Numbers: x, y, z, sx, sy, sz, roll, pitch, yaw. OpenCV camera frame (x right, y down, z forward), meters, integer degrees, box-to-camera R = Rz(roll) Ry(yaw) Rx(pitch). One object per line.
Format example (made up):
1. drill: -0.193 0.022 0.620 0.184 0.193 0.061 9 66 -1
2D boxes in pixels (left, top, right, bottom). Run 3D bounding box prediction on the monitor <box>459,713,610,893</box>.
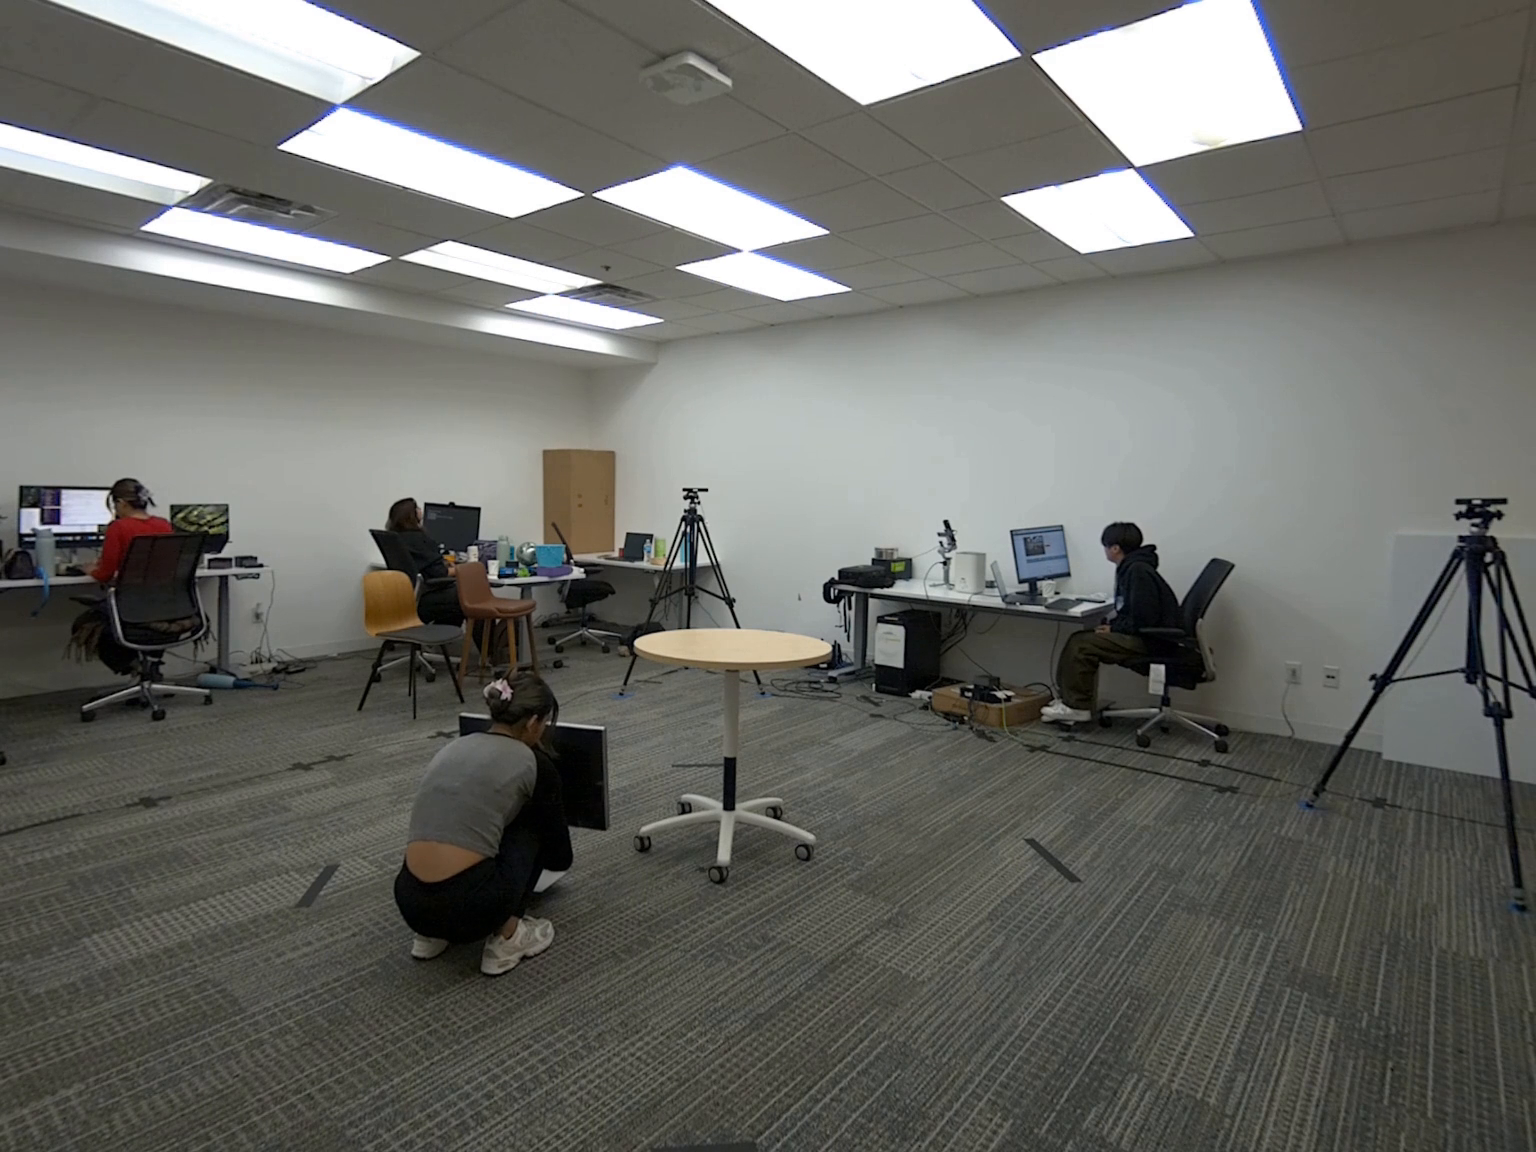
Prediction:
1. monitor: -0.836 0.767 2.906 0.548 0.524 0.183 1 -3 15
